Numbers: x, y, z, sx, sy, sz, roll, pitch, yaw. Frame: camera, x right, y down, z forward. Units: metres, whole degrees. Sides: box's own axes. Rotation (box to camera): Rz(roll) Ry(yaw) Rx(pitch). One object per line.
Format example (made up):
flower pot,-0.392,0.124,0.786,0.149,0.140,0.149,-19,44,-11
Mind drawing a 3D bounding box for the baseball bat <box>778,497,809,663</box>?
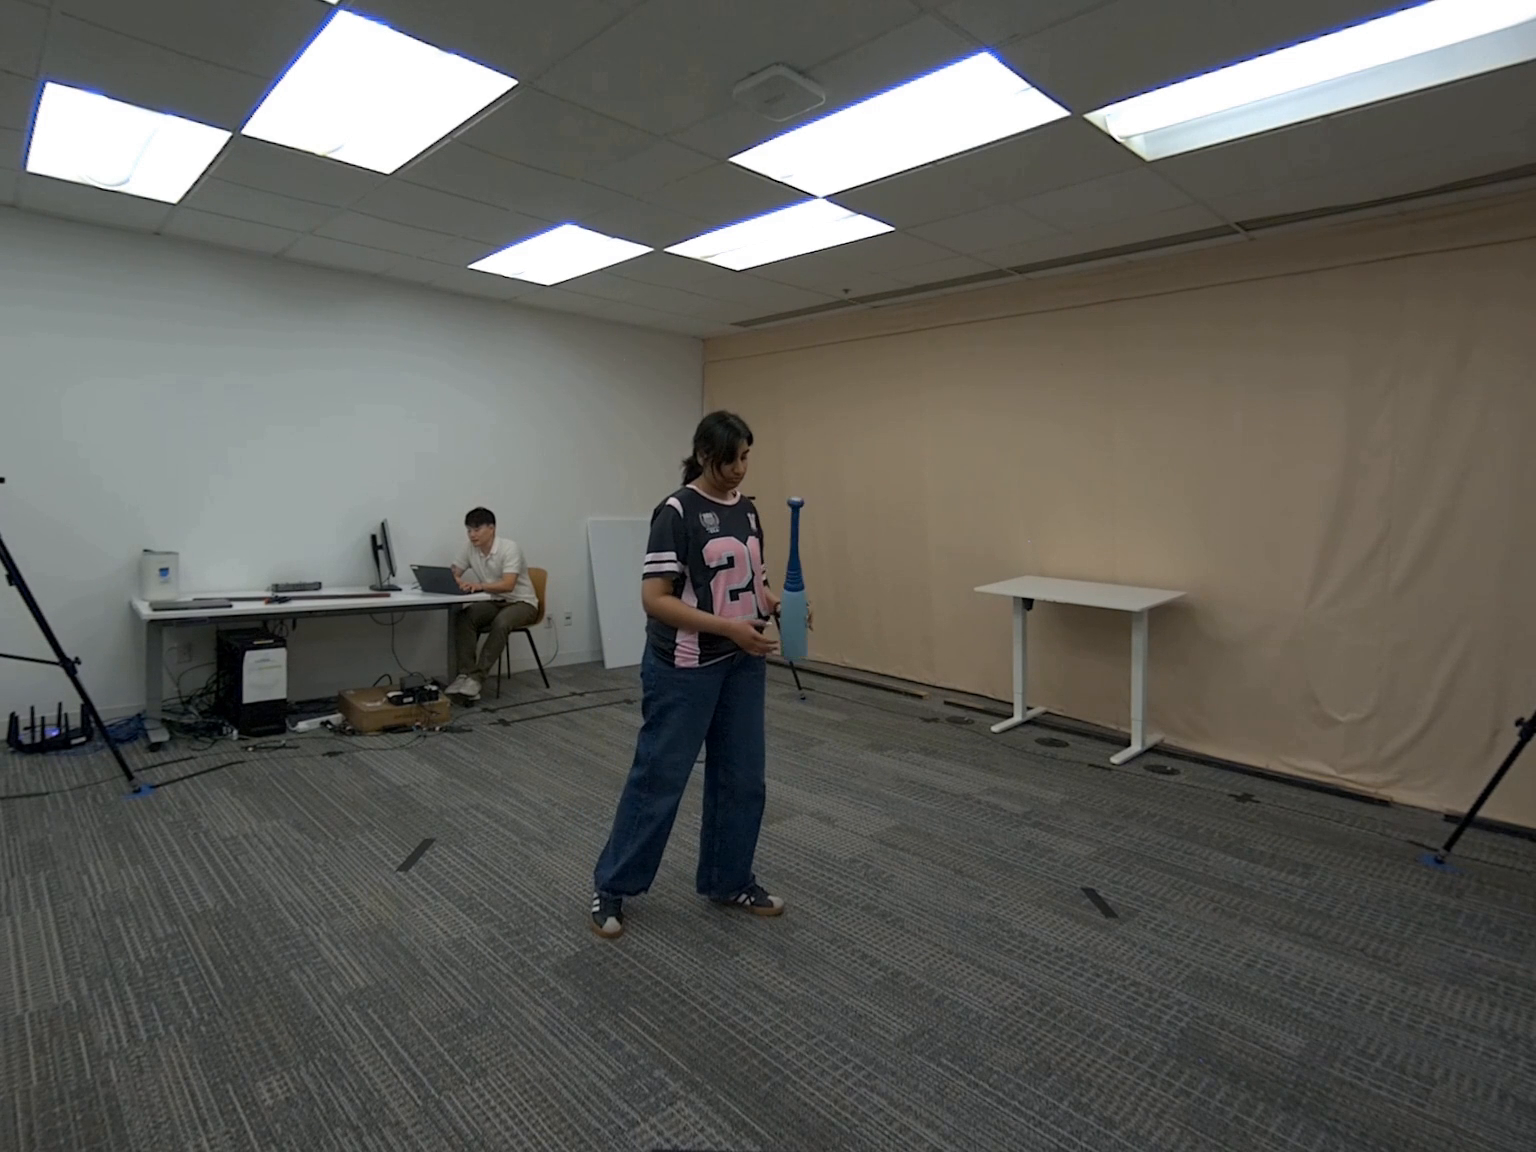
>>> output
baseball bat,0.056,0.018,2.607,0.089,0.534,0.090,0,22,-1
